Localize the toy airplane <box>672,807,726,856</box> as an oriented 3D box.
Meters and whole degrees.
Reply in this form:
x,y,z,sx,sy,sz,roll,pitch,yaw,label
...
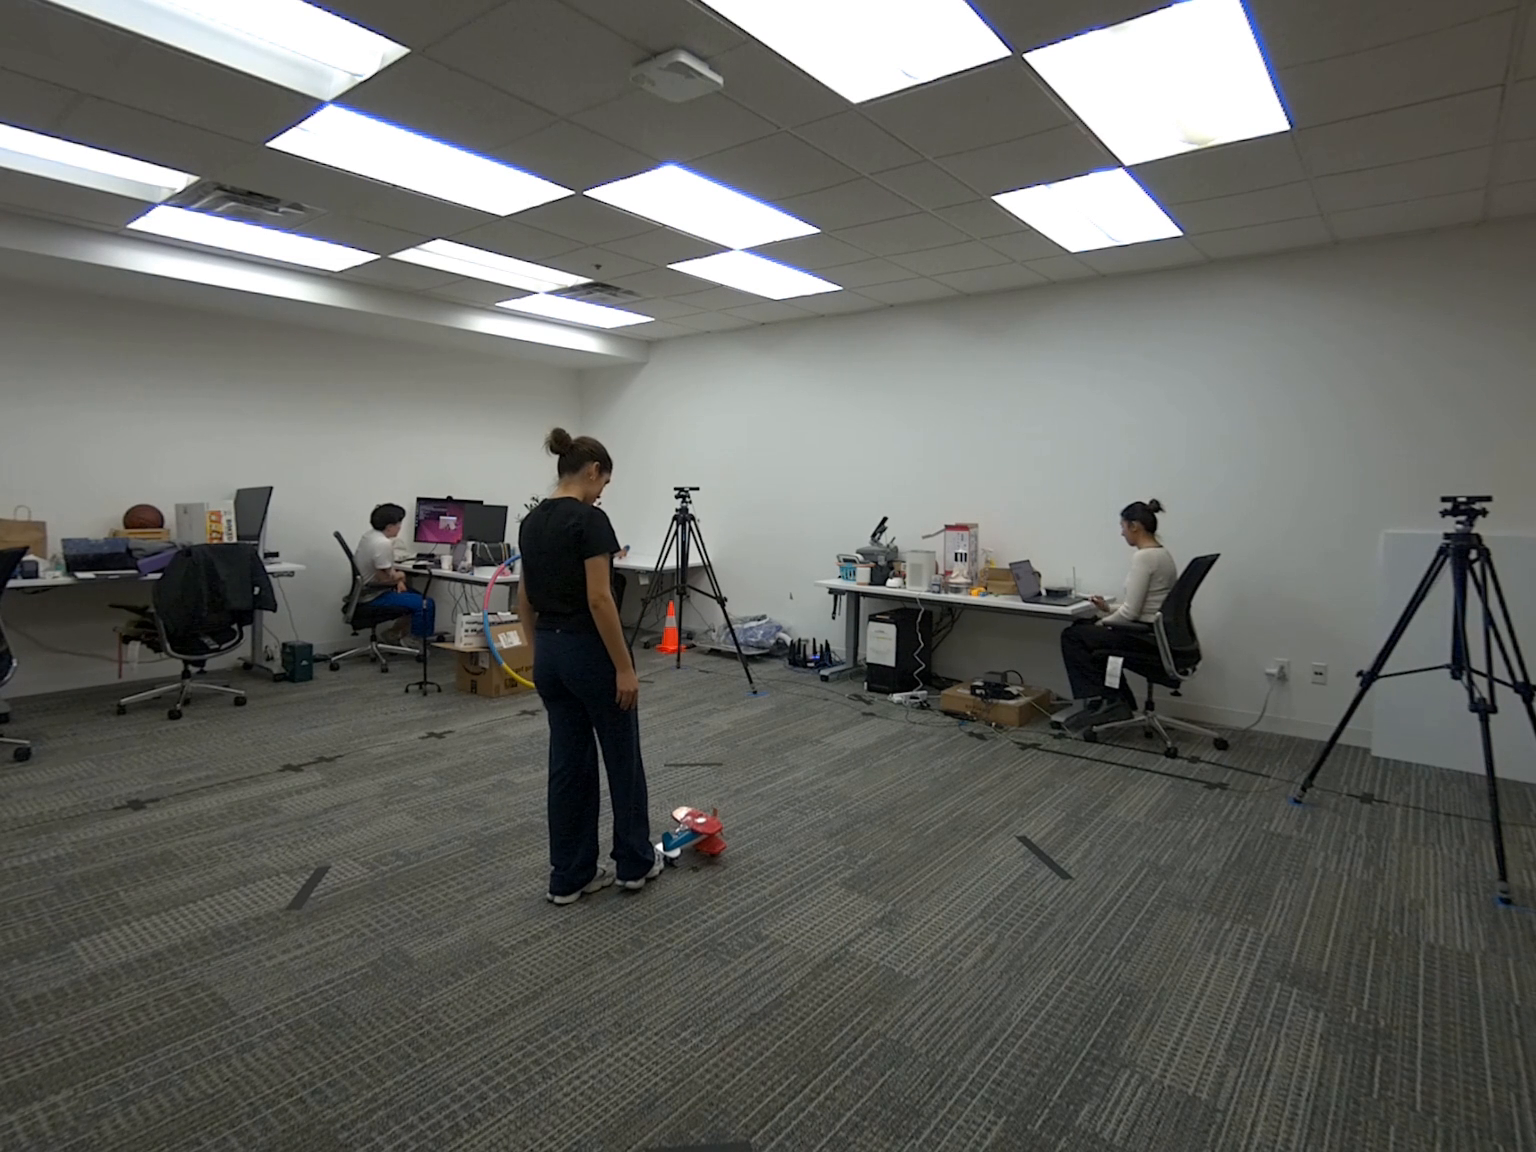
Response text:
x,y,z,sx,sy,sz,roll,pitch,yaw,label
-0.262,0.980,3.198,0.257,0.156,0.254,3,4,20,toy airplane
